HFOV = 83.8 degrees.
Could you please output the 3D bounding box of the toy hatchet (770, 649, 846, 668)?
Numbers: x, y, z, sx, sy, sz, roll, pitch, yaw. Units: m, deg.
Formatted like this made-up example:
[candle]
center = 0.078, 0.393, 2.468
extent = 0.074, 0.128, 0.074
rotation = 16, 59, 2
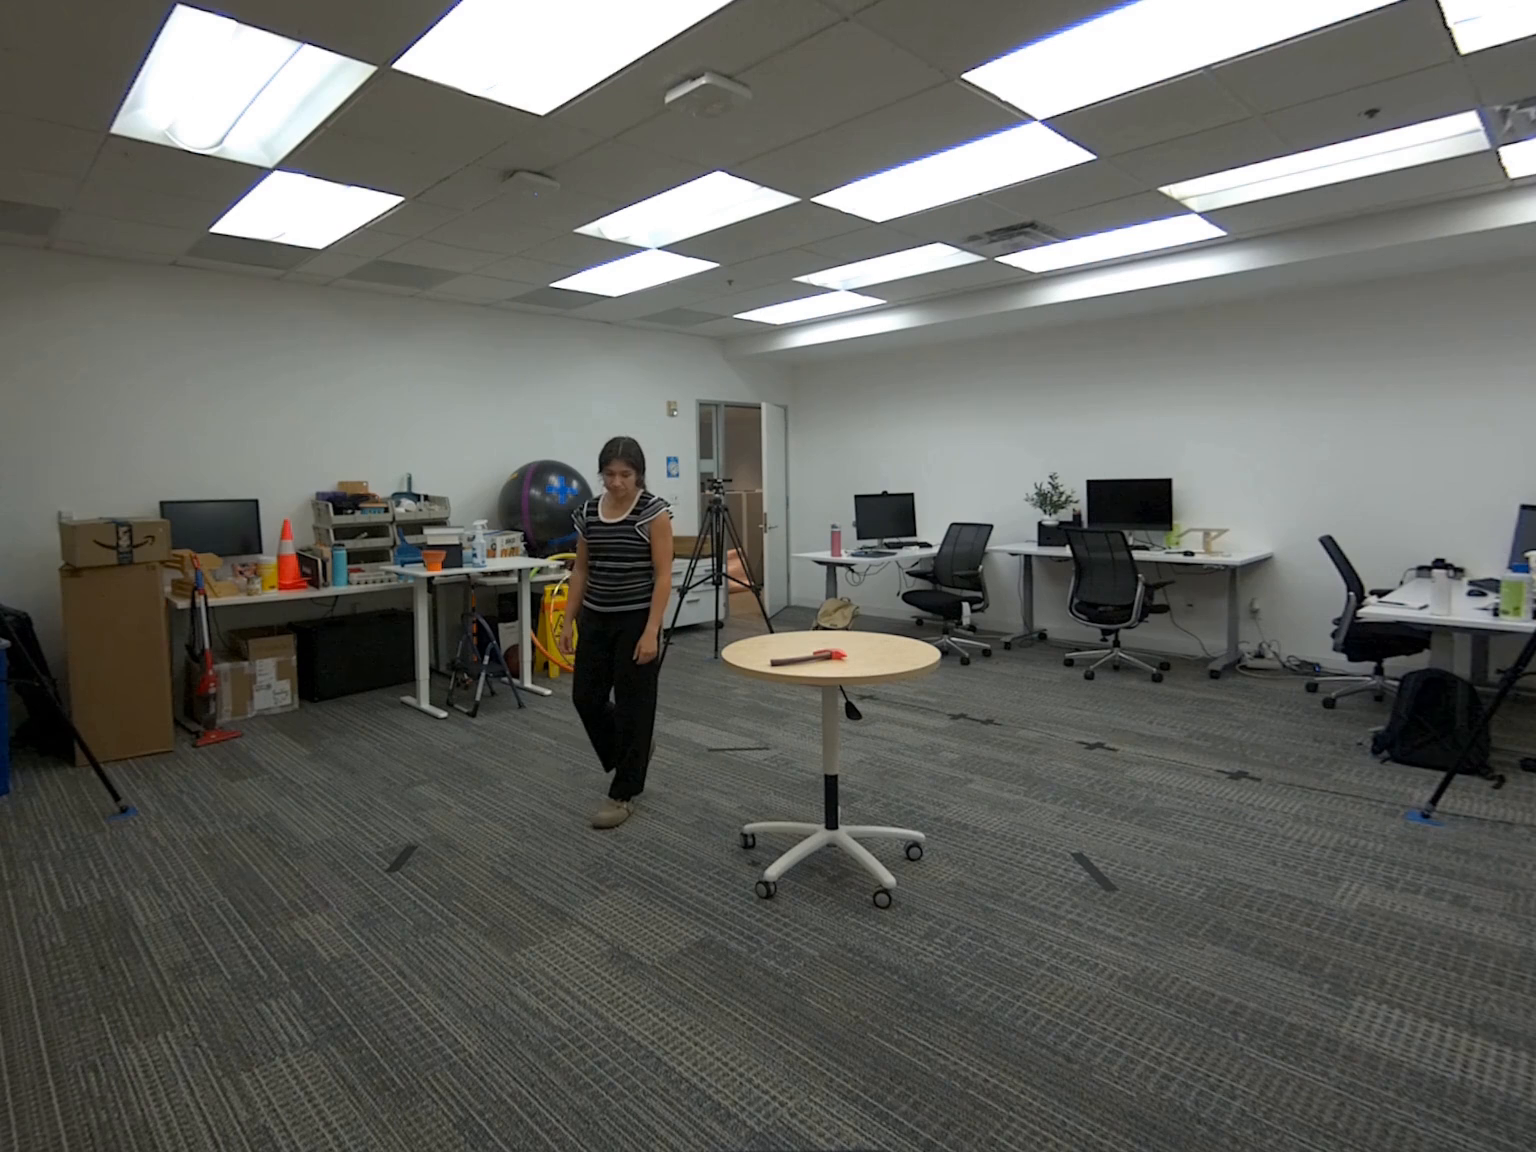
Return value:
[toy hatchet]
center = 0.136, 0.275, 2.888
extent = 0.267, 0.029, 0.133
rotation = -4, 5, -13
